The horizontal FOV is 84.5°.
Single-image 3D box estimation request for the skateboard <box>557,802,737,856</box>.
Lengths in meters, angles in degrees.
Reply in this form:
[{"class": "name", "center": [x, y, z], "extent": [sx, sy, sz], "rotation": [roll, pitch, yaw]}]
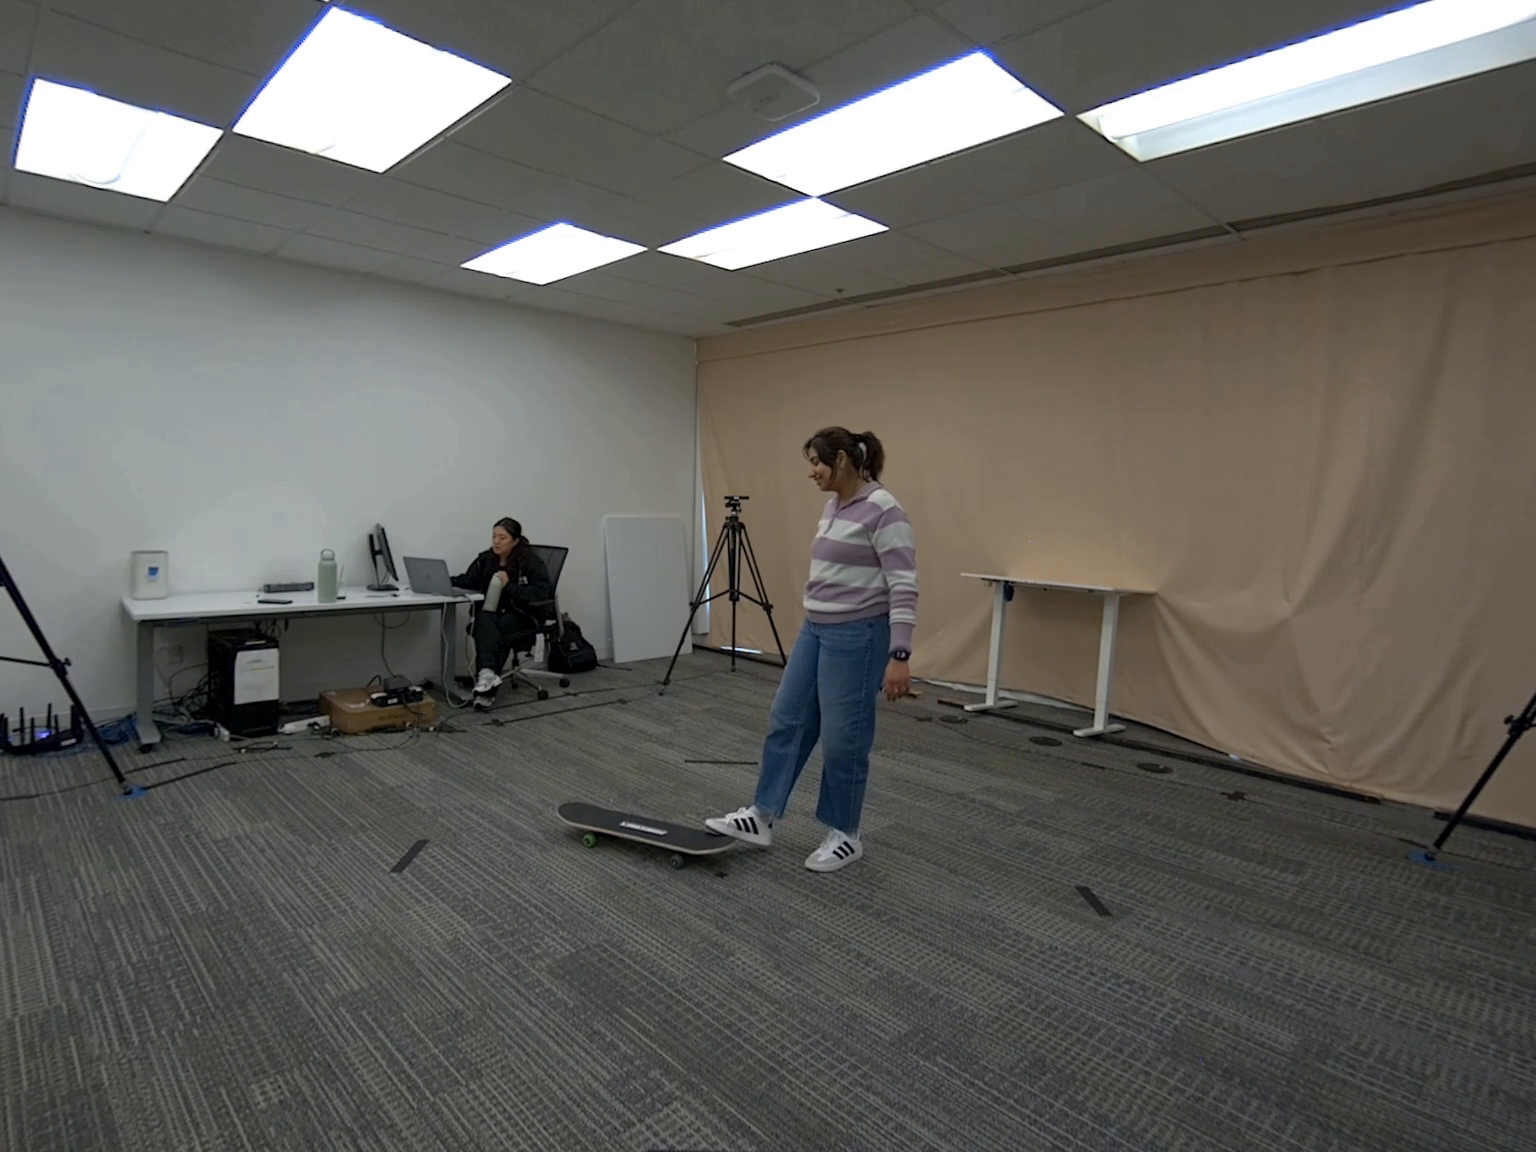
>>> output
[{"class": "skateboard", "center": [-0.496, 1.016, 3.307], "extent": [0.801, 0.110, 0.190], "rotation": [4, 5, 26]}]
